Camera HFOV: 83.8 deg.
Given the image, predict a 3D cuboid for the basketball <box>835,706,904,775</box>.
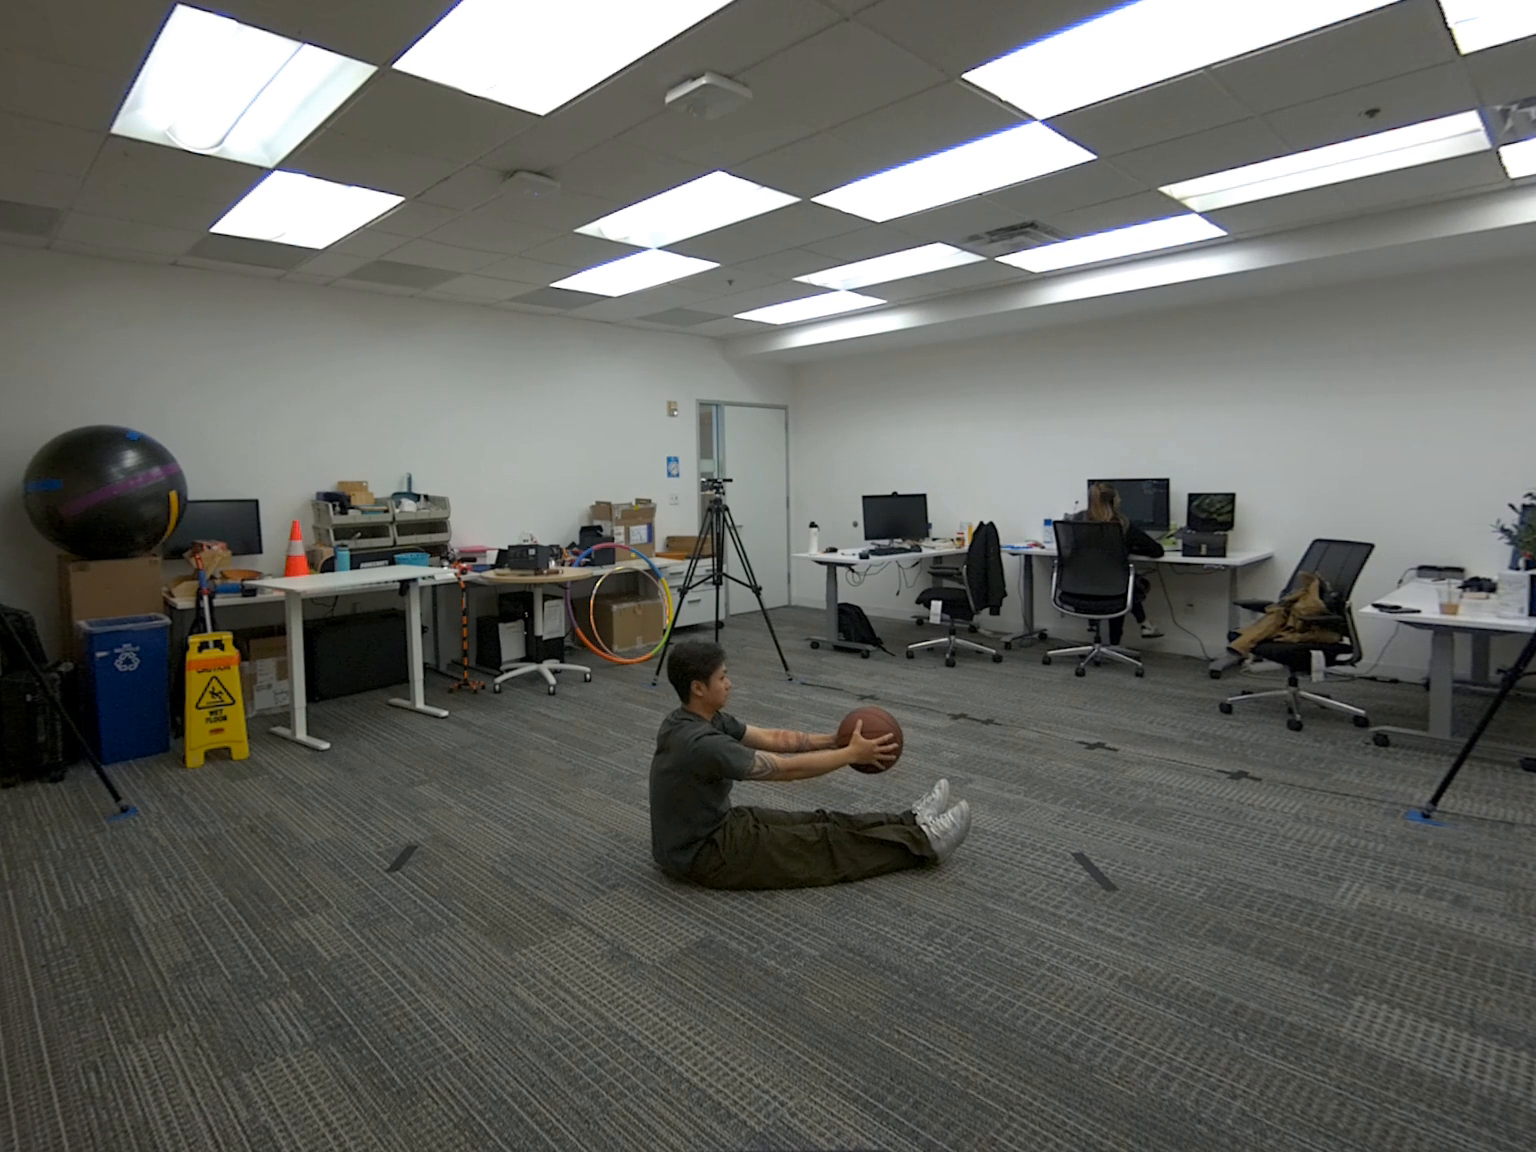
[{"bbox_3d":[0.368,0.590,3.102,0.236,0.235,0.237,-1,5,-2],"label":"basketball"}]
